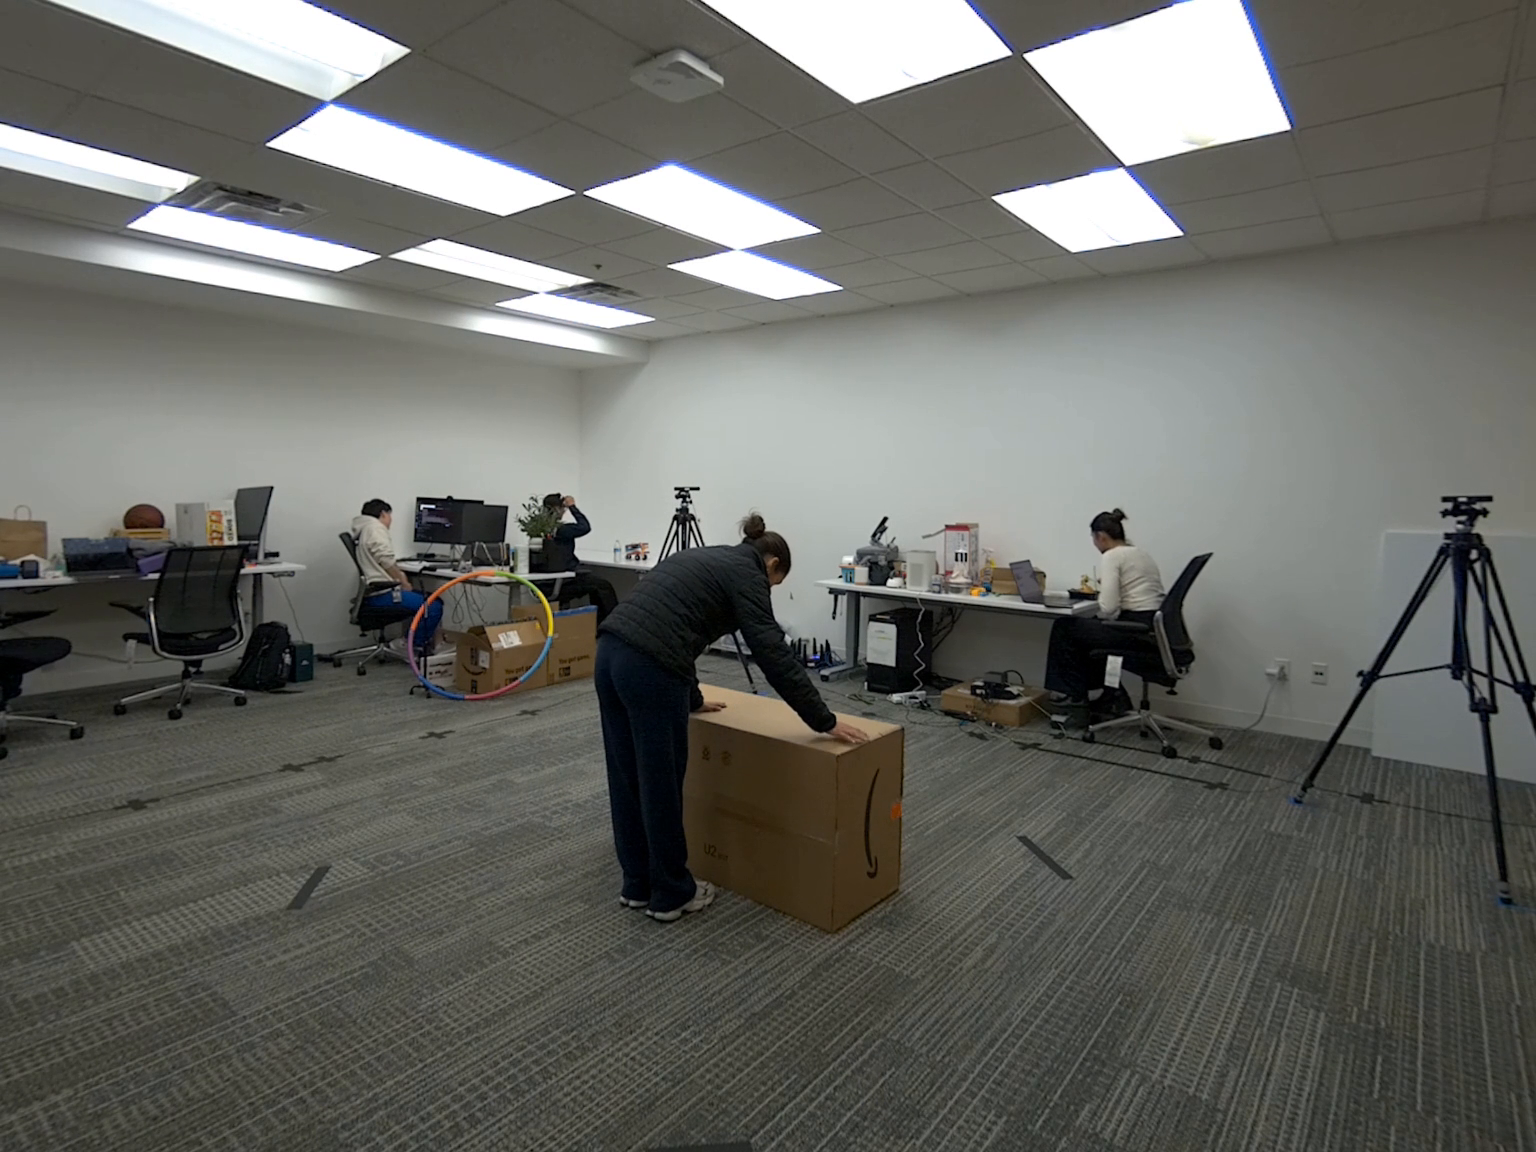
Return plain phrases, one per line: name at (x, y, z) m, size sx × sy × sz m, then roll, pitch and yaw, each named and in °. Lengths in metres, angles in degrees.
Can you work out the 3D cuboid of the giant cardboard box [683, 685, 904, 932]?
giant cardboard box at (-0.049, 0.779, 3.148) m, size 1.062 × 0.581 × 0.434 m, roll 5°, pitch 7°, yaw 41°
